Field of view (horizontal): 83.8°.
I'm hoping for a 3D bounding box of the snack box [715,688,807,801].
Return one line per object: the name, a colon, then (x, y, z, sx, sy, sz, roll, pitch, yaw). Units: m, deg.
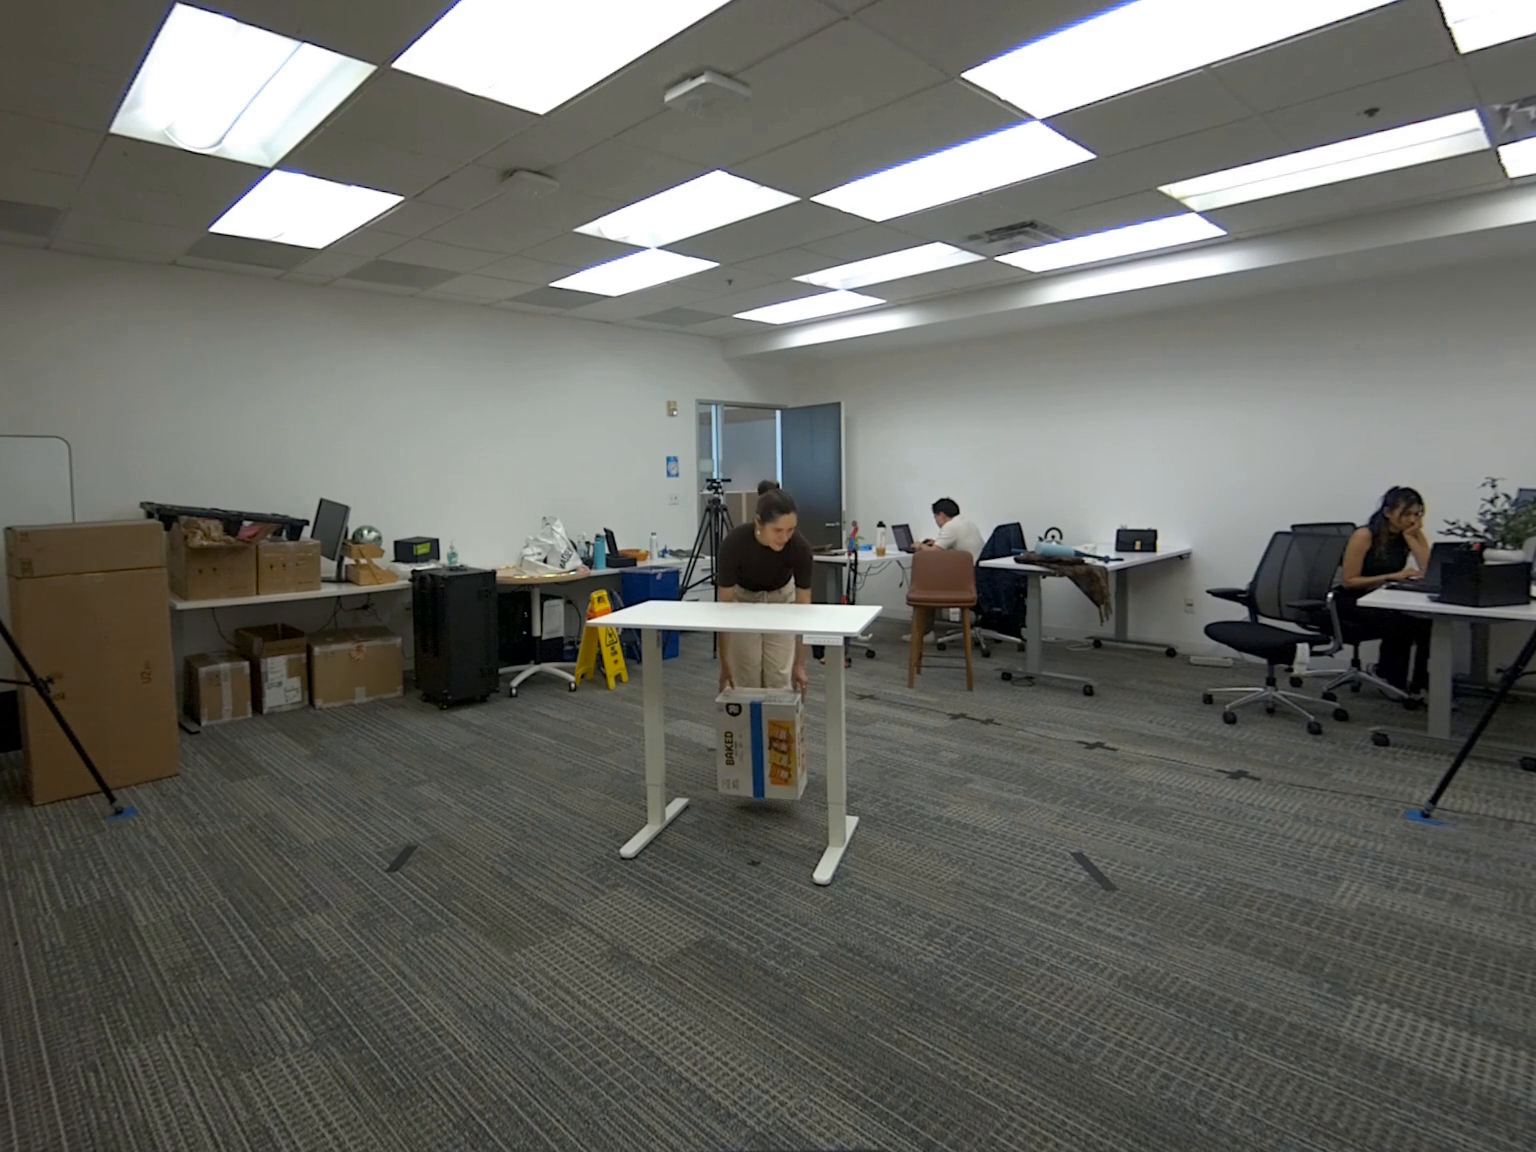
snack box: (-0.030, 0.698, 3.594, 0.345, 0.402, 0.204, 0, 9, 14)
